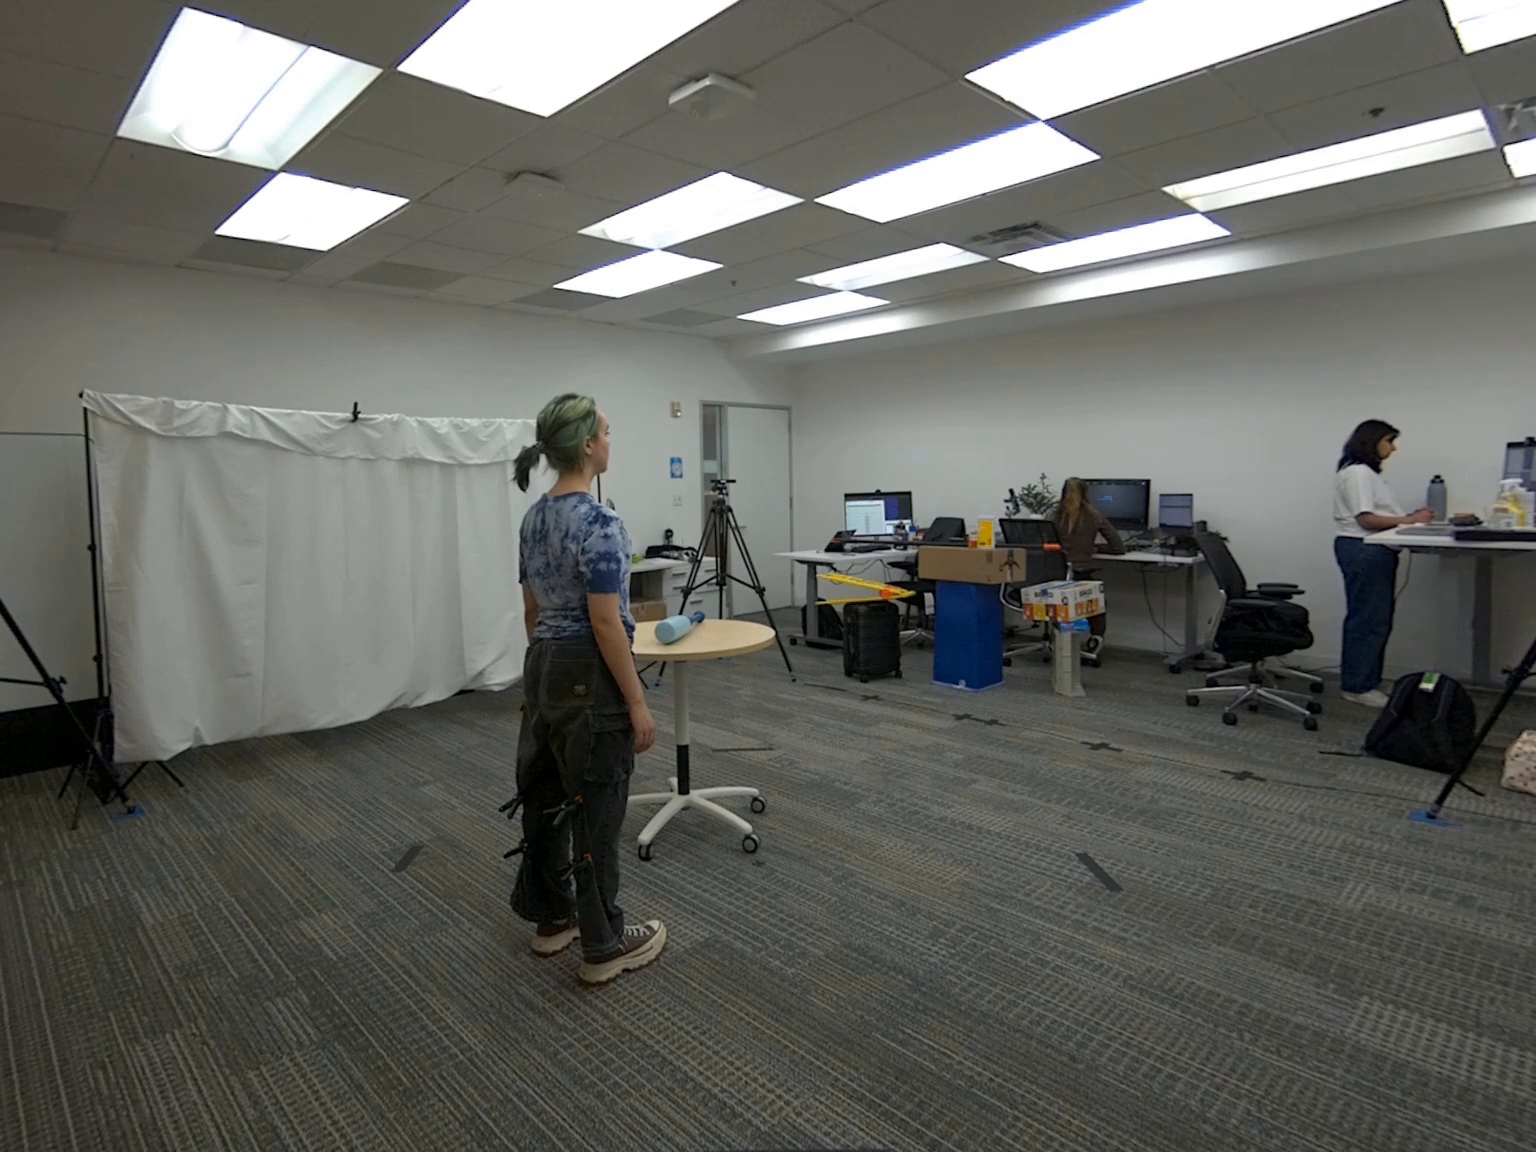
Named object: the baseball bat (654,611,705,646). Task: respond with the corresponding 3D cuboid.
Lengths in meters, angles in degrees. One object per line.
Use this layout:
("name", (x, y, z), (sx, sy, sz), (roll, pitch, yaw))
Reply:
("baseball bat", (-0.342, 0.195, 3.440), (0.090, 0.089, 0.539), (0, 3, 6))
